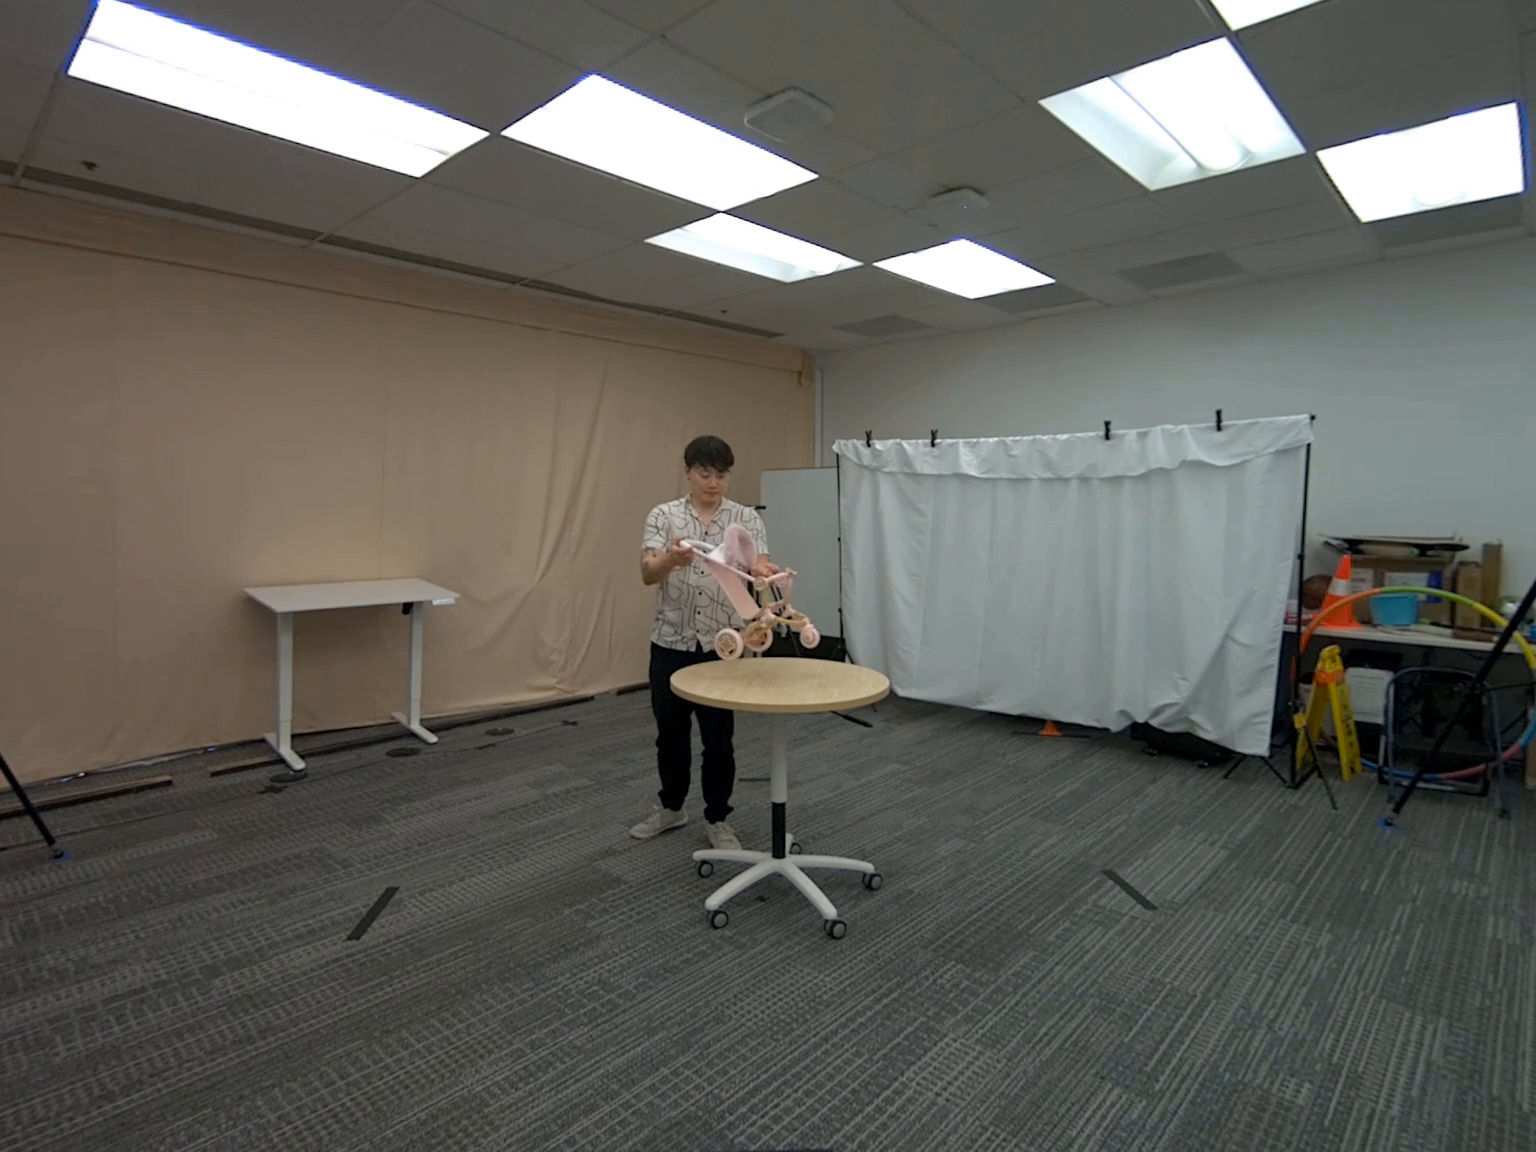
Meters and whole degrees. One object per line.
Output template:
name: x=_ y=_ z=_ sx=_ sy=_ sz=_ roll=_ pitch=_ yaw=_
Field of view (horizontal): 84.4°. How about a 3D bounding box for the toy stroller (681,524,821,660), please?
toy stroller: x=-0.054 y=0.050 z=2.968 sx=0.346 sy=0.541 sz=0.274 roll=-29 pitch=-11 yaw=27
